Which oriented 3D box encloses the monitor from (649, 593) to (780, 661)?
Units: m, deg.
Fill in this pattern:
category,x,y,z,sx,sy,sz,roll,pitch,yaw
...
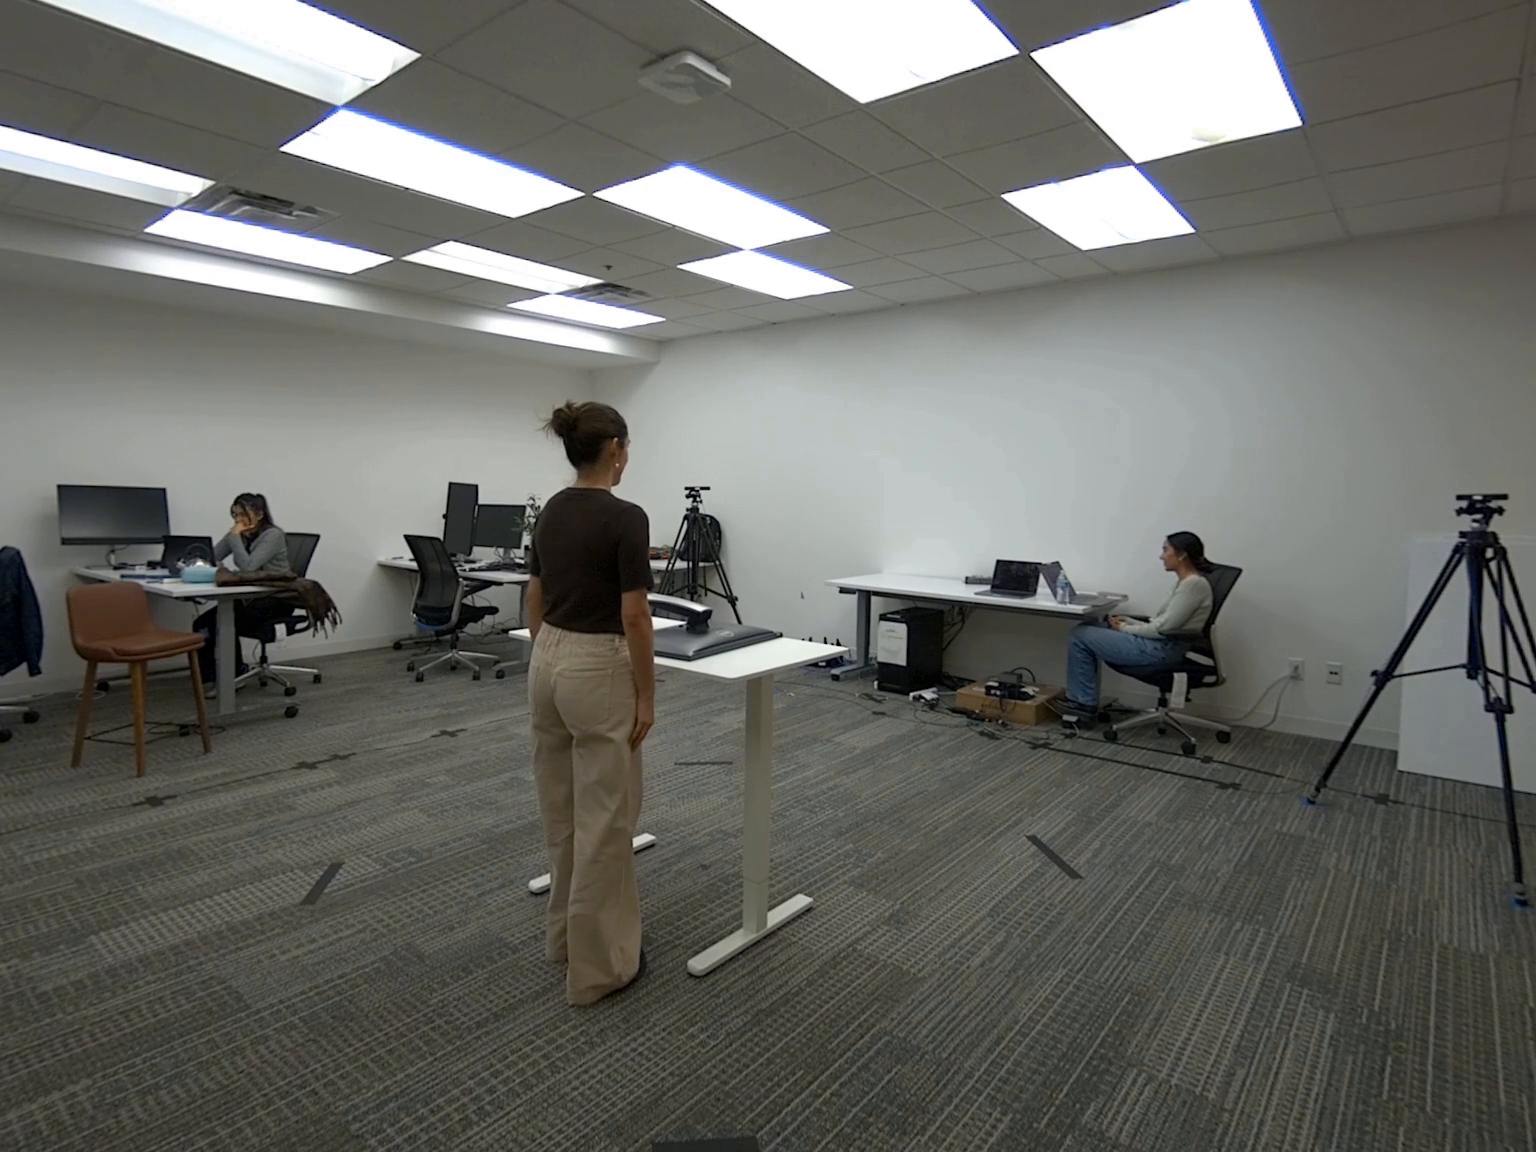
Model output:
category,x,y,z,sx,sy,sz,roll,pitch,yaw
monitor,-0.312,0.154,2.846,0.542,0.185,0.525,19,17,32
